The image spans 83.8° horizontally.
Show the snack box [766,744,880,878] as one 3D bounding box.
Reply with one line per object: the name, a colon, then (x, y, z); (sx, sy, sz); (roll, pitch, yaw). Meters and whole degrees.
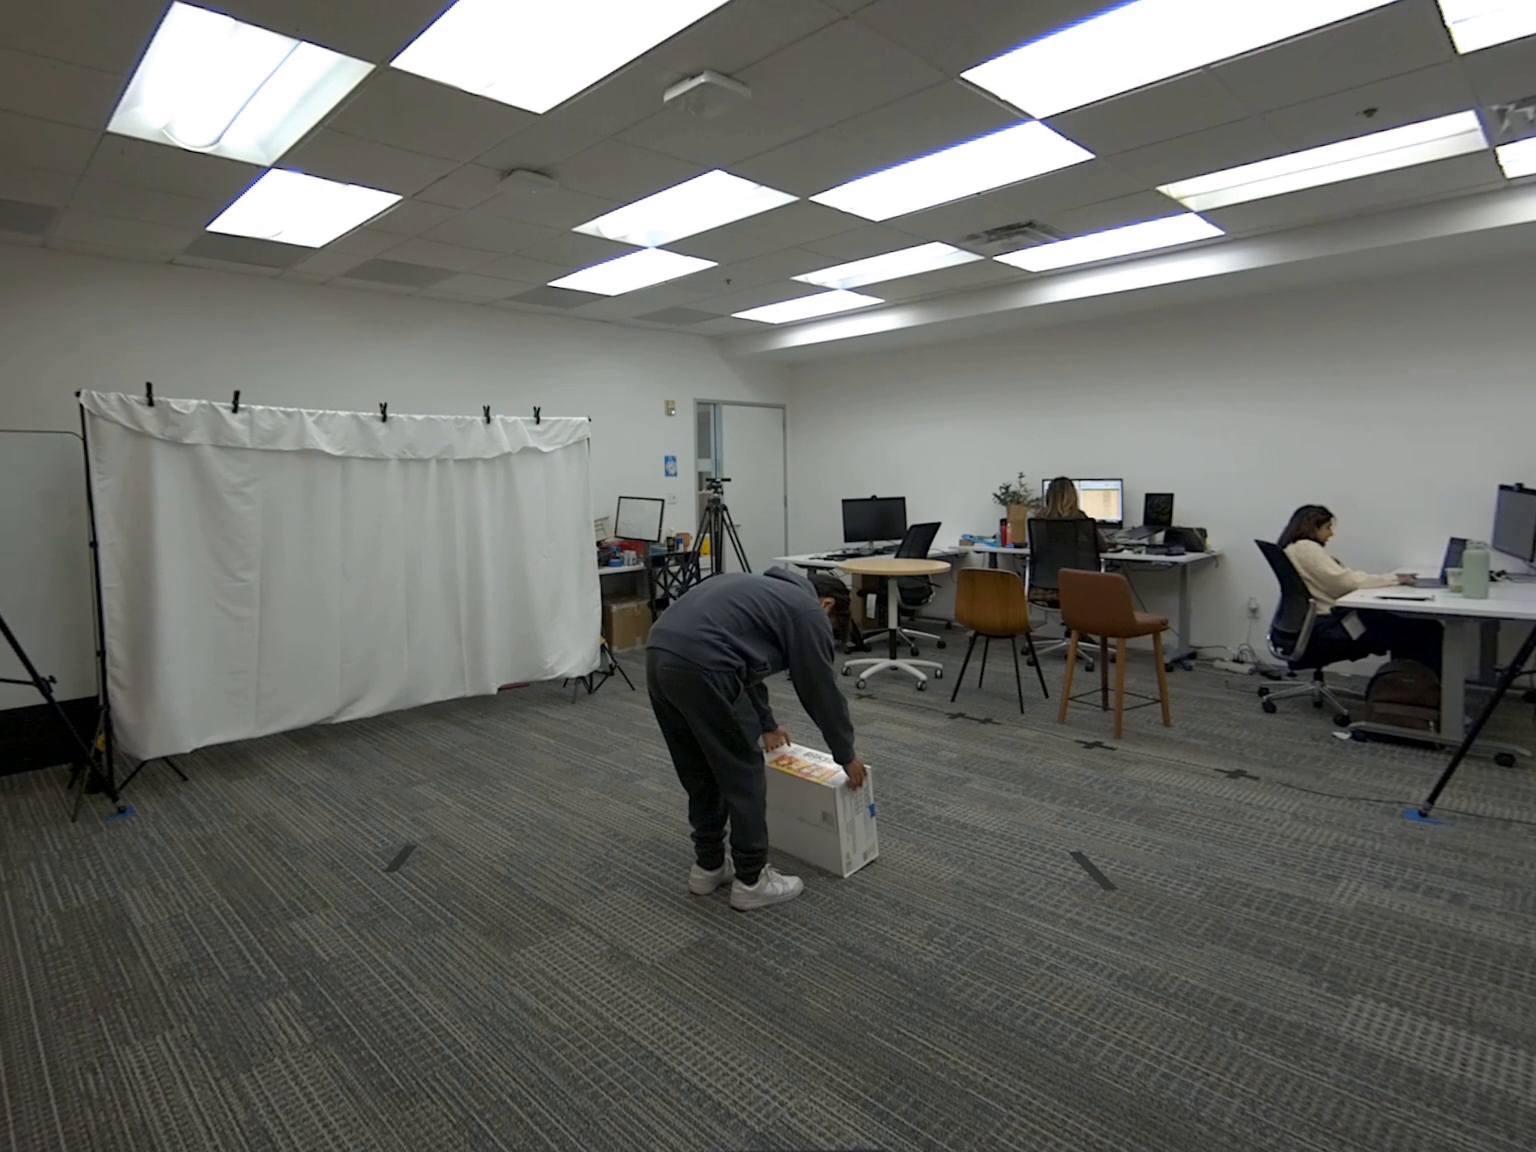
snack box: (0.179, 0.856, 3.166); (0.201, 0.337, 0.418); (-14, 13, -42)
